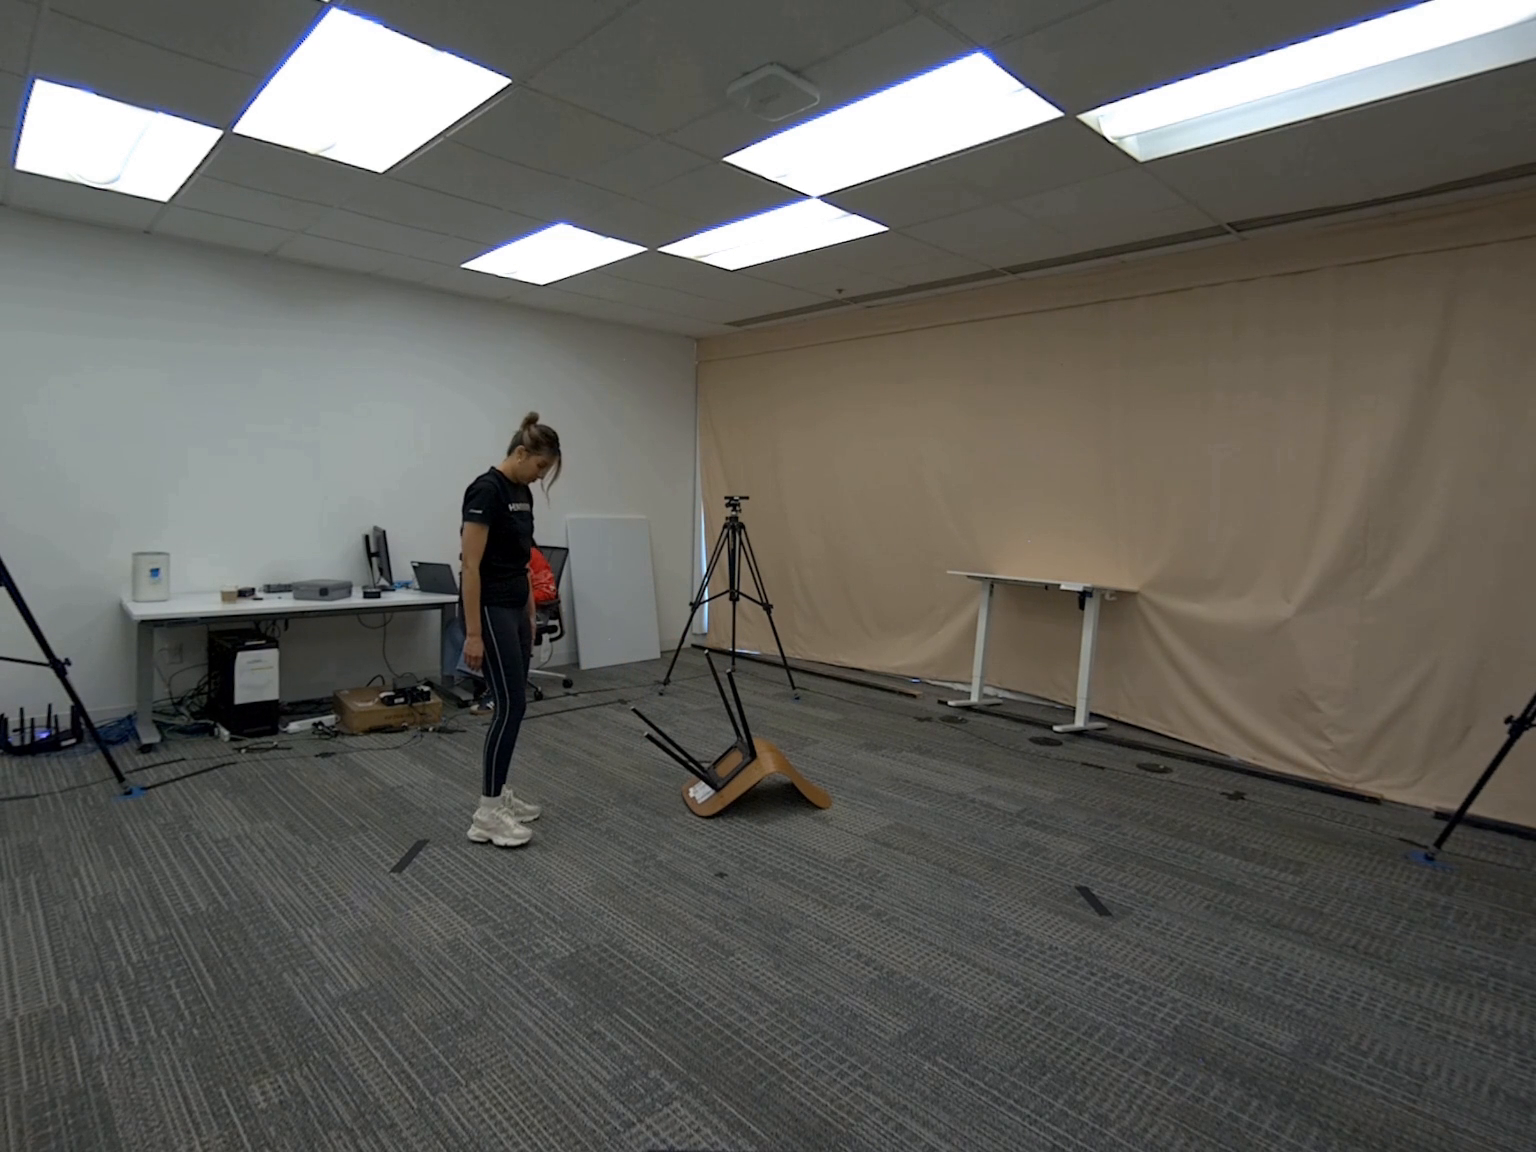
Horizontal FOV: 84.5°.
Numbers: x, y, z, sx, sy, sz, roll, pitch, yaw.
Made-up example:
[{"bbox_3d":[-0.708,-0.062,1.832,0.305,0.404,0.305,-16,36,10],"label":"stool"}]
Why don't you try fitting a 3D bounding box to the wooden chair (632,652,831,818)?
[{"bbox_3d":[-0.191,0.864,3.874,0.522,0.866,0.485,-40,13,-9],"label":"wooden chair"}]
